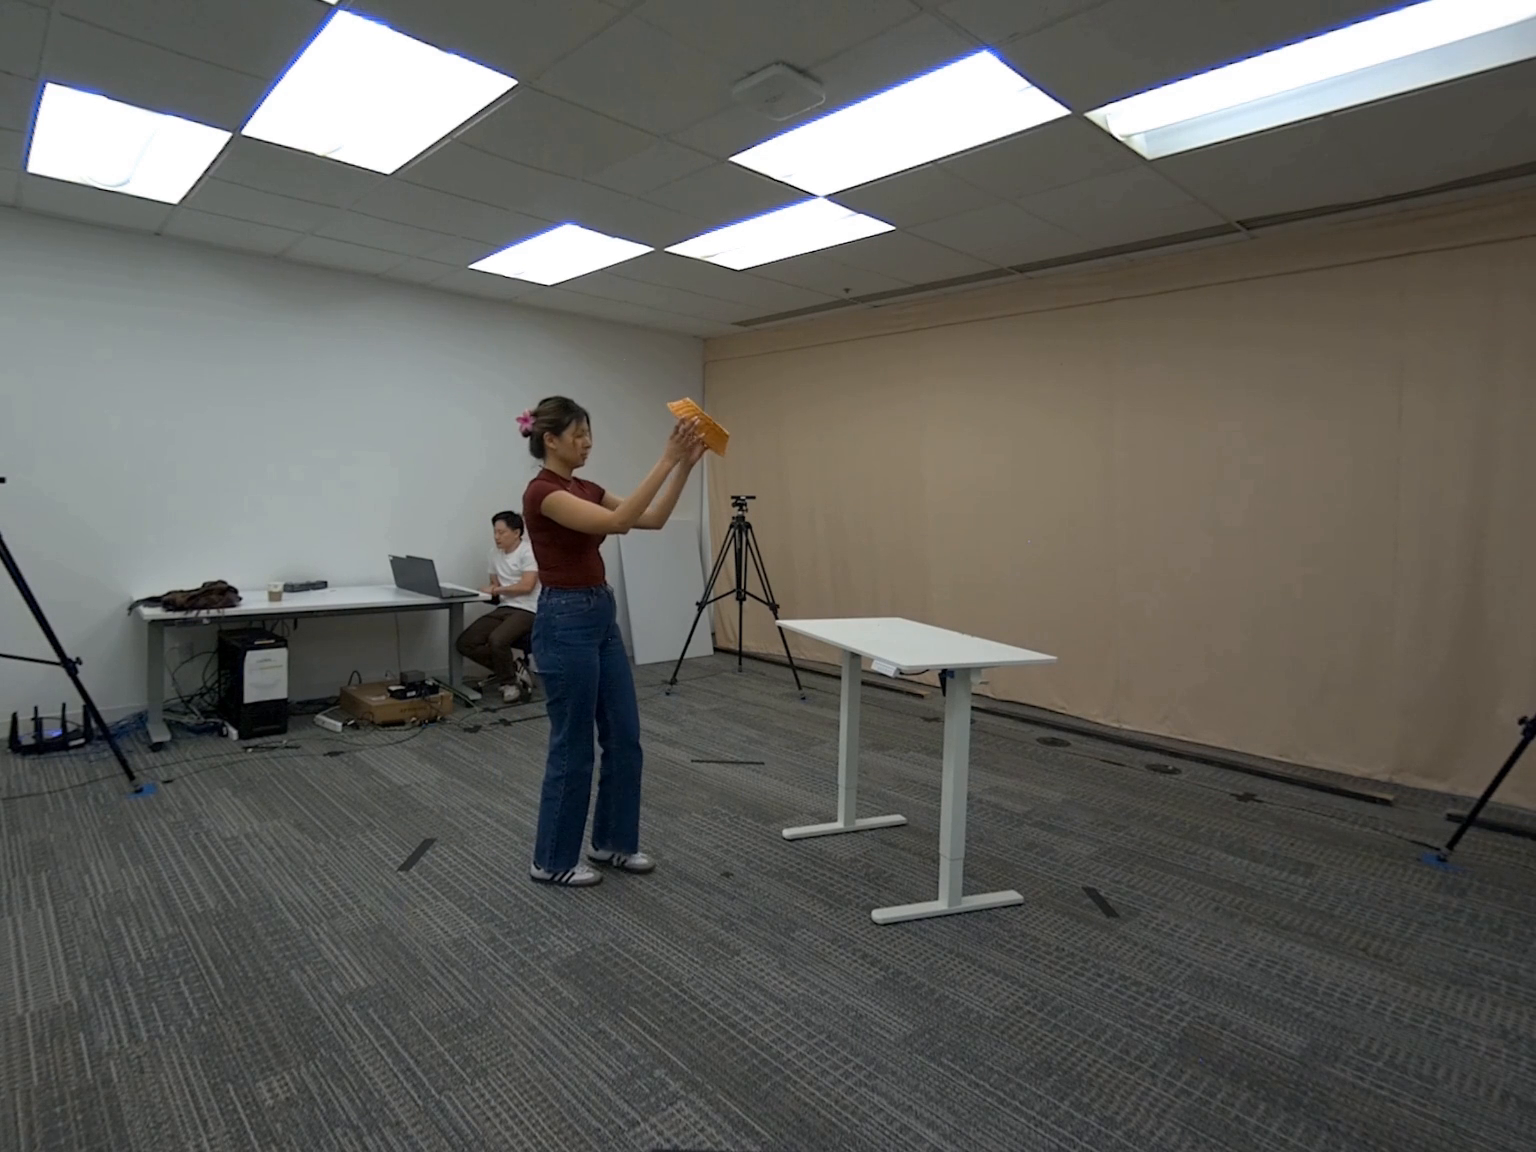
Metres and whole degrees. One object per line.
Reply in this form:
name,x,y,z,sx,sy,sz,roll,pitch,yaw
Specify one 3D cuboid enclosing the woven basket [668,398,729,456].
woven basket,-0.243,-0.520,2.863,0.253,0.073,0.349,43,7,2
